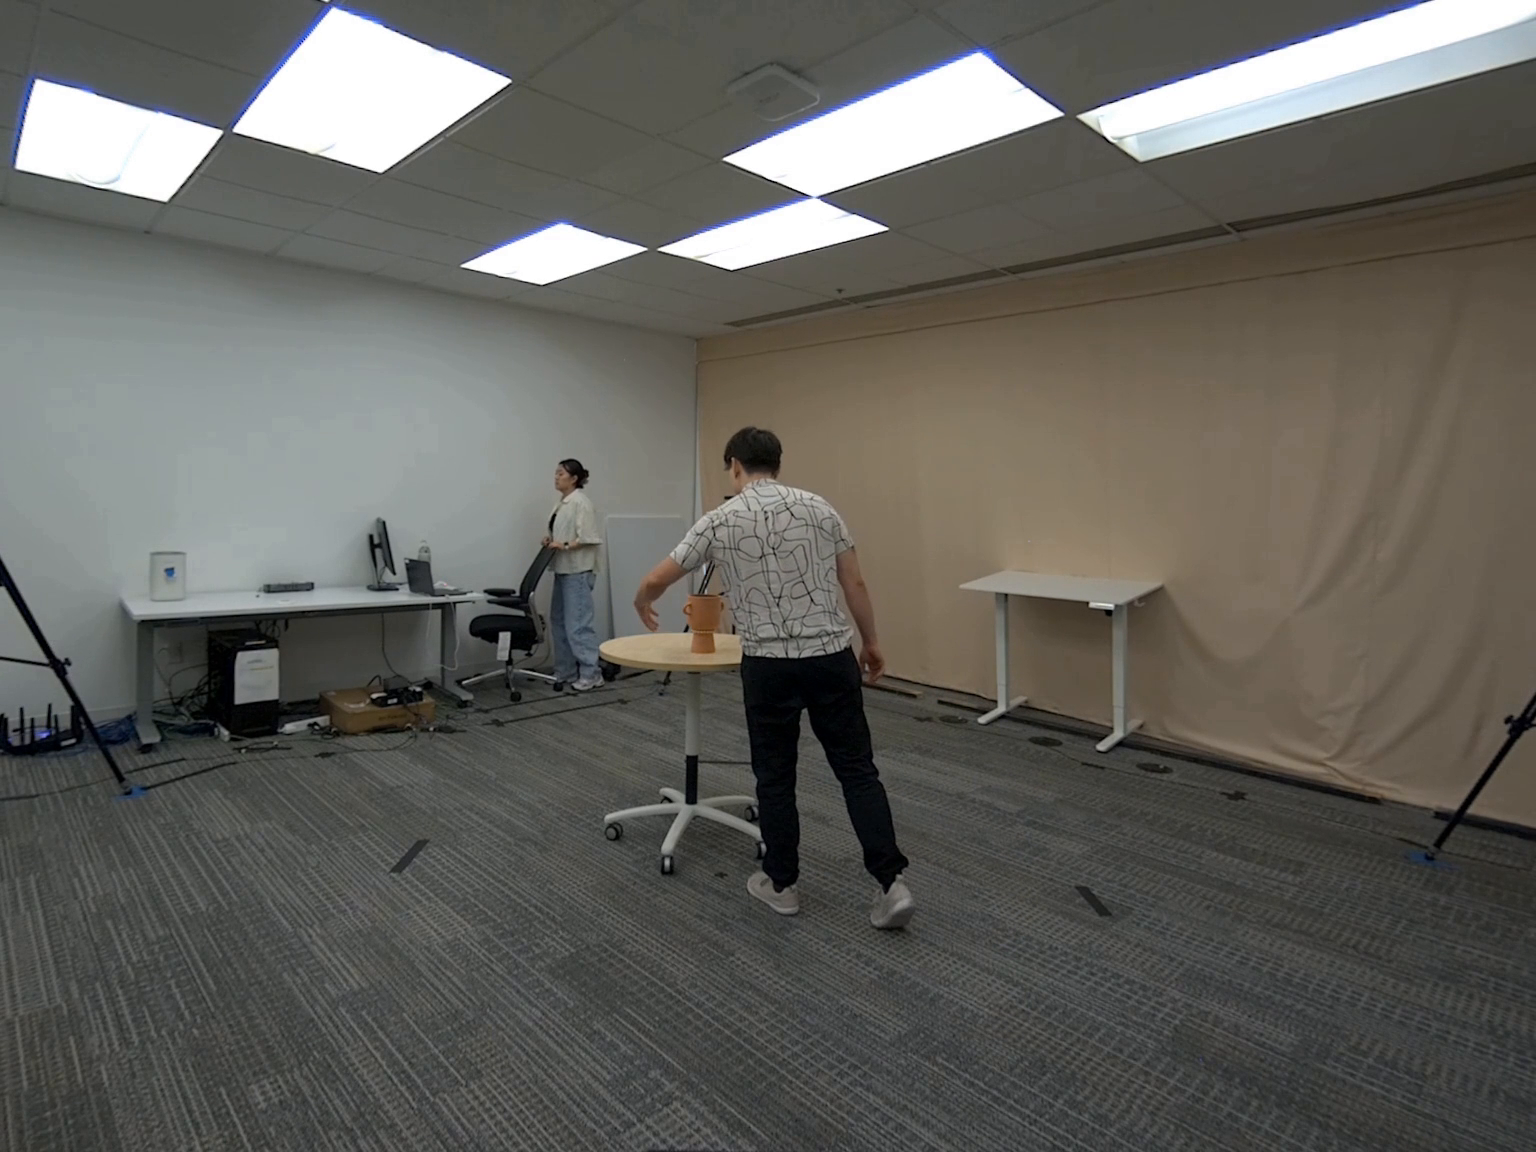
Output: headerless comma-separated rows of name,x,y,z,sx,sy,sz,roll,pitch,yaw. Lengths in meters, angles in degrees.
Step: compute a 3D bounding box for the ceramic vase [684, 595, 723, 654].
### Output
ceramic vase,-0.260,0.187,3.308,0.159,0.219,0.135,1,4,-1
